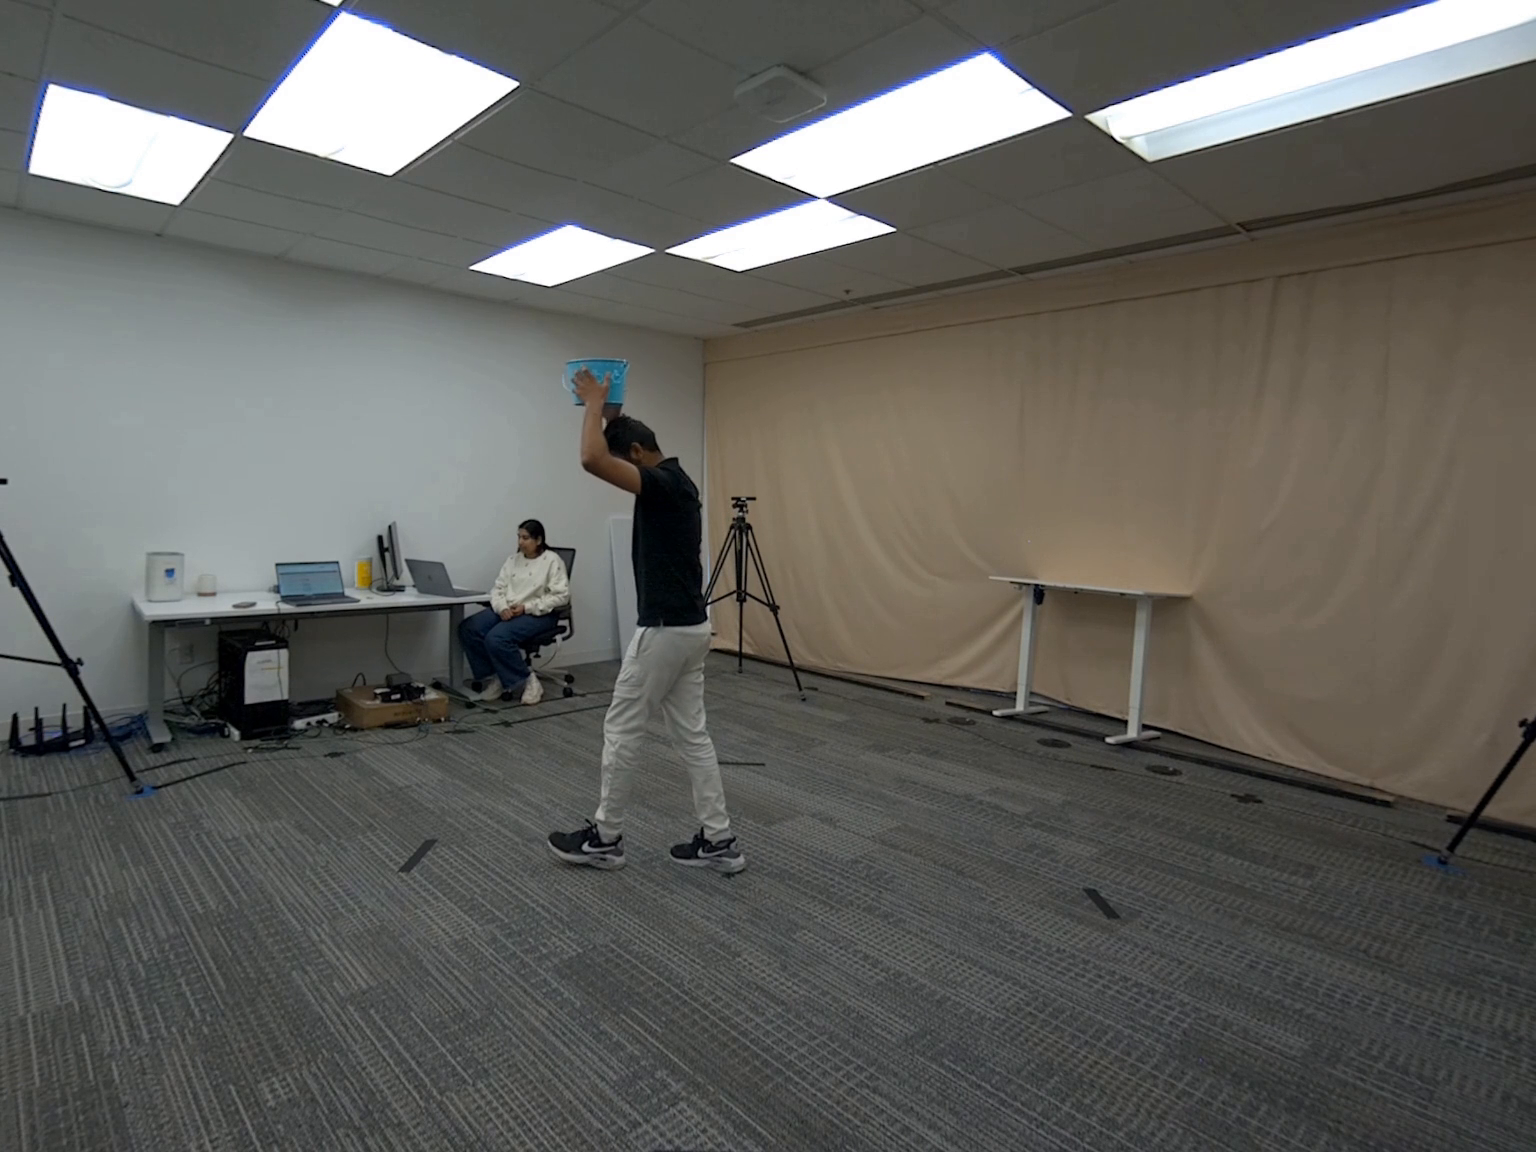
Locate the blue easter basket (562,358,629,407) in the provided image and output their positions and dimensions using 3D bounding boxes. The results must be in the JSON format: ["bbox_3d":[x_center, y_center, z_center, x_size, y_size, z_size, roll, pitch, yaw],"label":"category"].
[{"bbox_3d":[-0.655,-0.715,3.102,0.243,0.155,0.245,-2,8,-1],"label":"blue easter basket"}]
